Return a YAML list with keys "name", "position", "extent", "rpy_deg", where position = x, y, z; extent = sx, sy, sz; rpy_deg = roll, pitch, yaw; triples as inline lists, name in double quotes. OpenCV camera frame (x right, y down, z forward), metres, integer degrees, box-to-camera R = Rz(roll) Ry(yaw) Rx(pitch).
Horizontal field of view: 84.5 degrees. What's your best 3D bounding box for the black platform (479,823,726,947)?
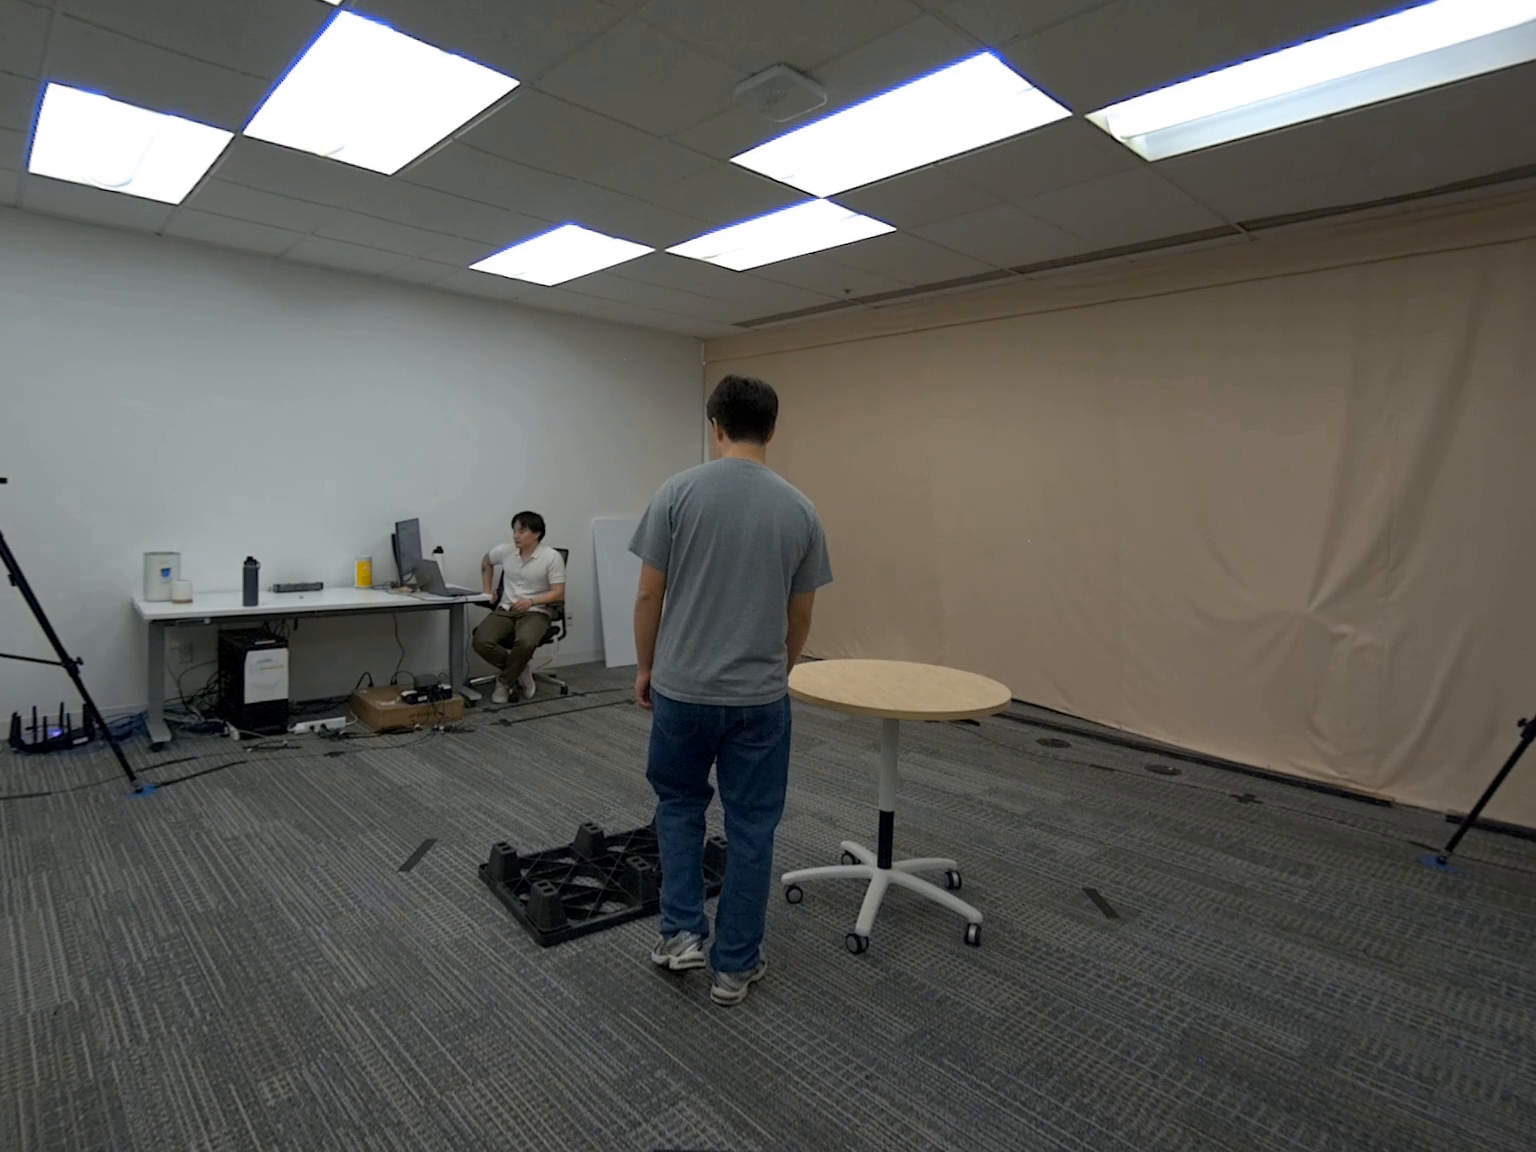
- name: "black platform"
  position: [-0.563, 1.039, 3.034]
  extent: [0.788, 0.143, 0.620]
  rpy_deg: [-3, 6, -37]
